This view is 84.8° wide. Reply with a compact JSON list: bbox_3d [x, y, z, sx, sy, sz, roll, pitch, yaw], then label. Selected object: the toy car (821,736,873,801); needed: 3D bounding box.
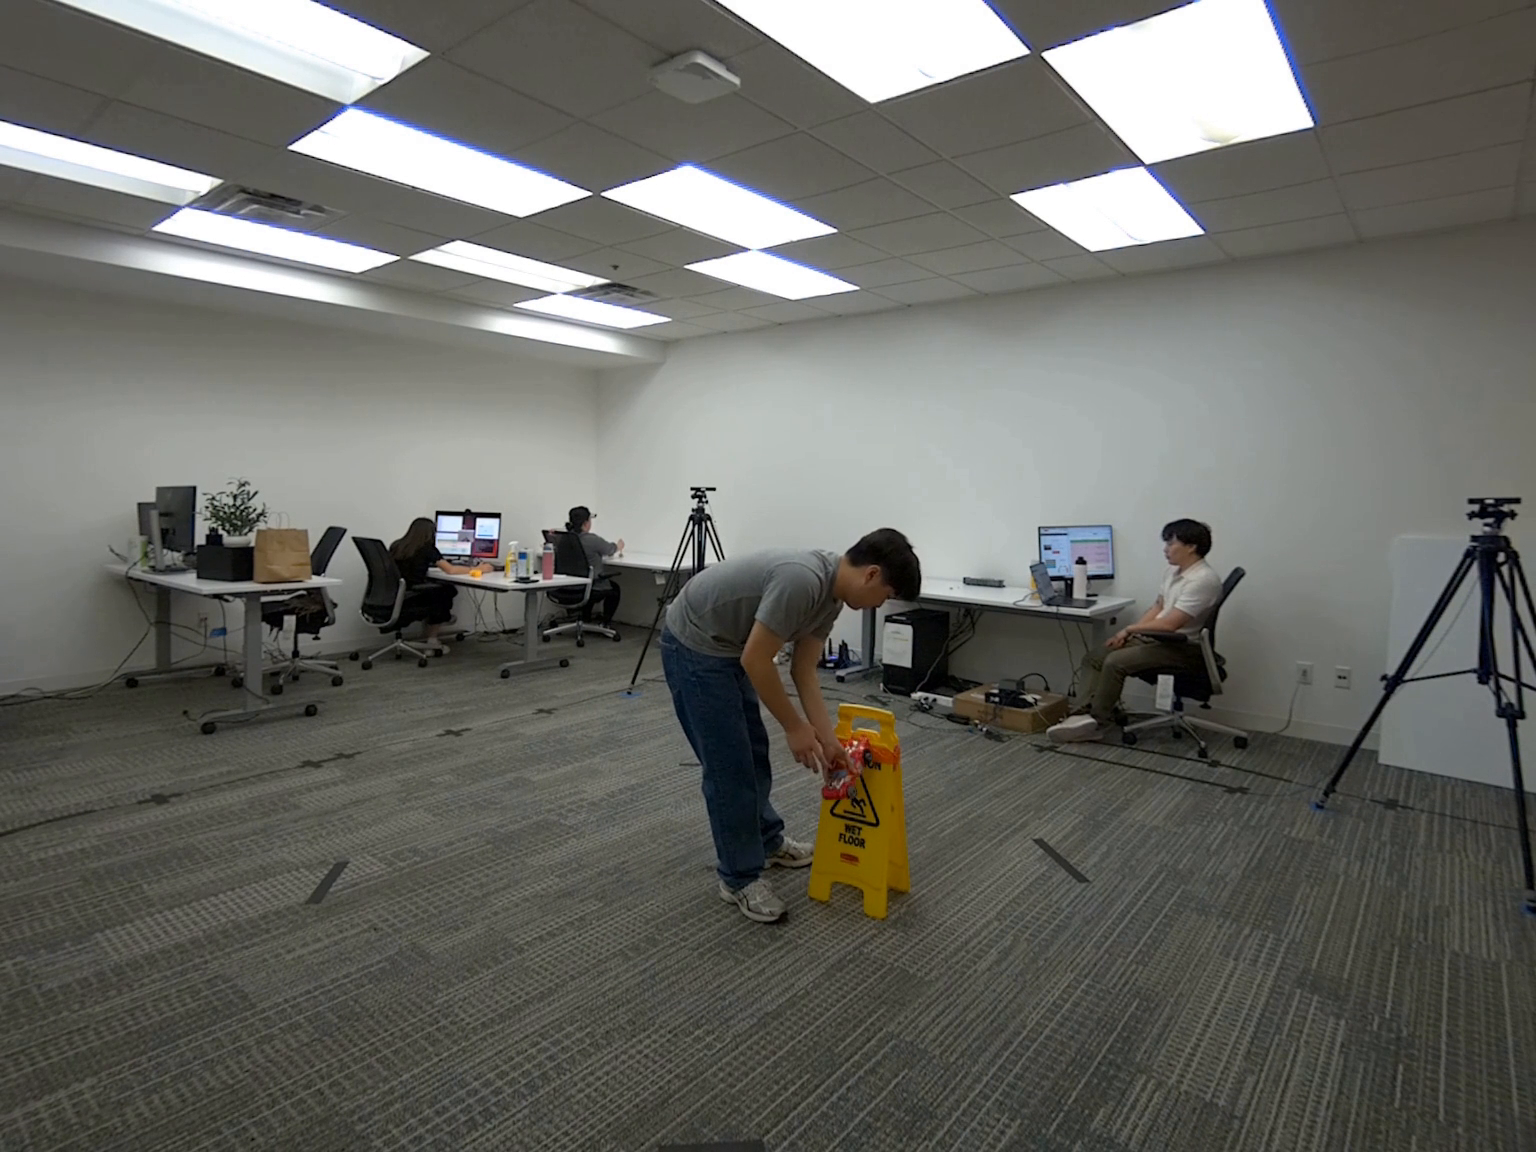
[{"bbox_3d":[0.257,0.633,2.804,0.081,0.257,0.133,43,-38,-24],"label":"toy car"}]
